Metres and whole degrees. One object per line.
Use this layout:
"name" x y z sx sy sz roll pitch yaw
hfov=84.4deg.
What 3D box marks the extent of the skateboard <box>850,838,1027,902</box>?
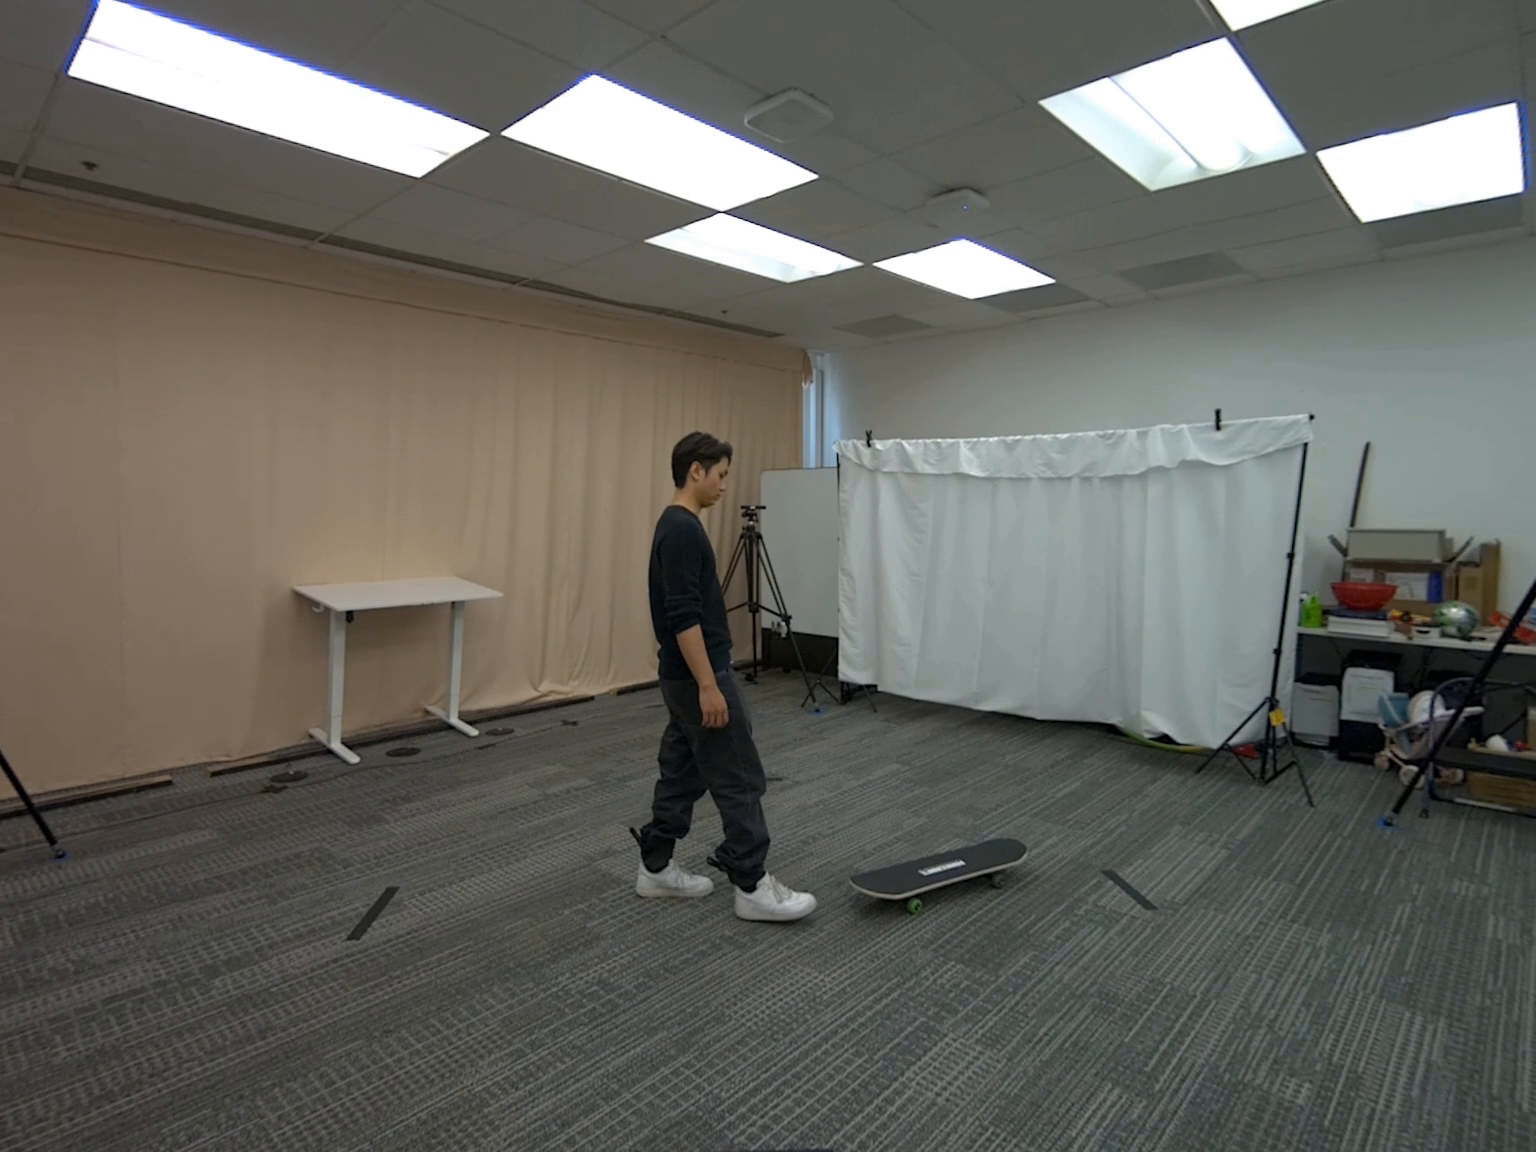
"skateboard" 0.630 1.085 3.026 0.765 0.110 0.199 -2 5 -29
